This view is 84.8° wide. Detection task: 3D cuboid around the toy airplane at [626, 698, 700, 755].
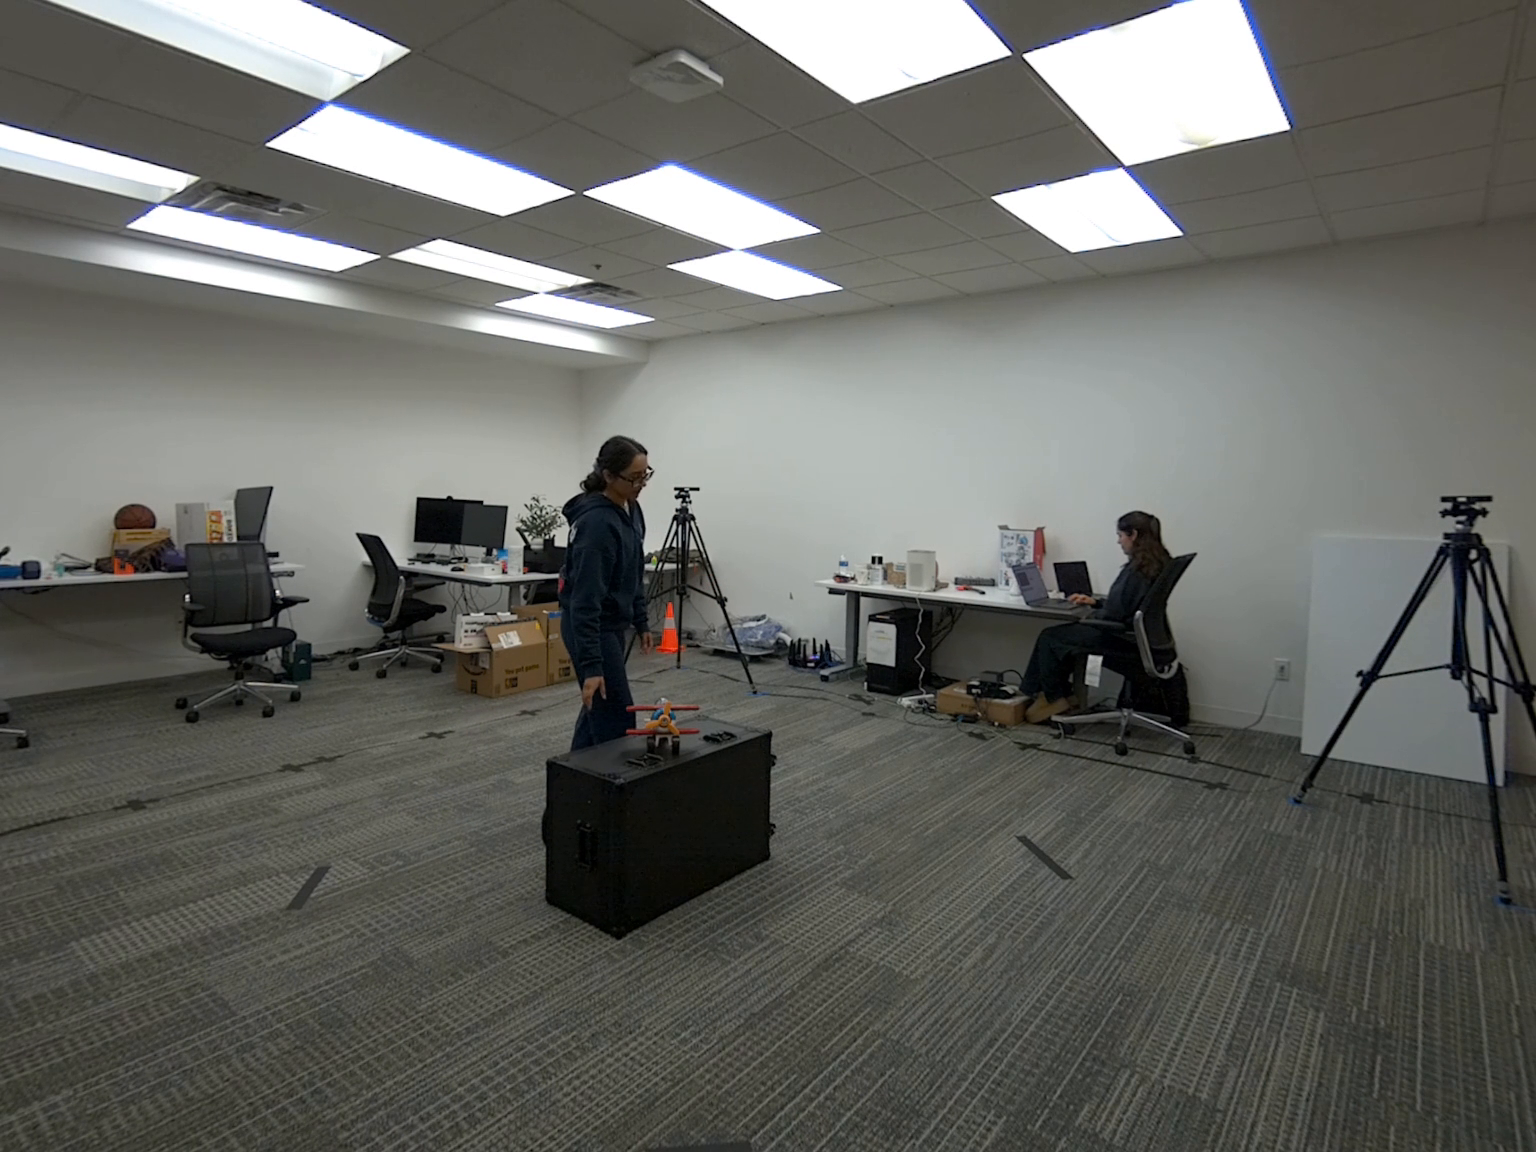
[{"bbox_3d":[-0.394,0.515,2.996,0.244,0.155,0.268,-4,8,-34],"label":"toy airplane"}]
